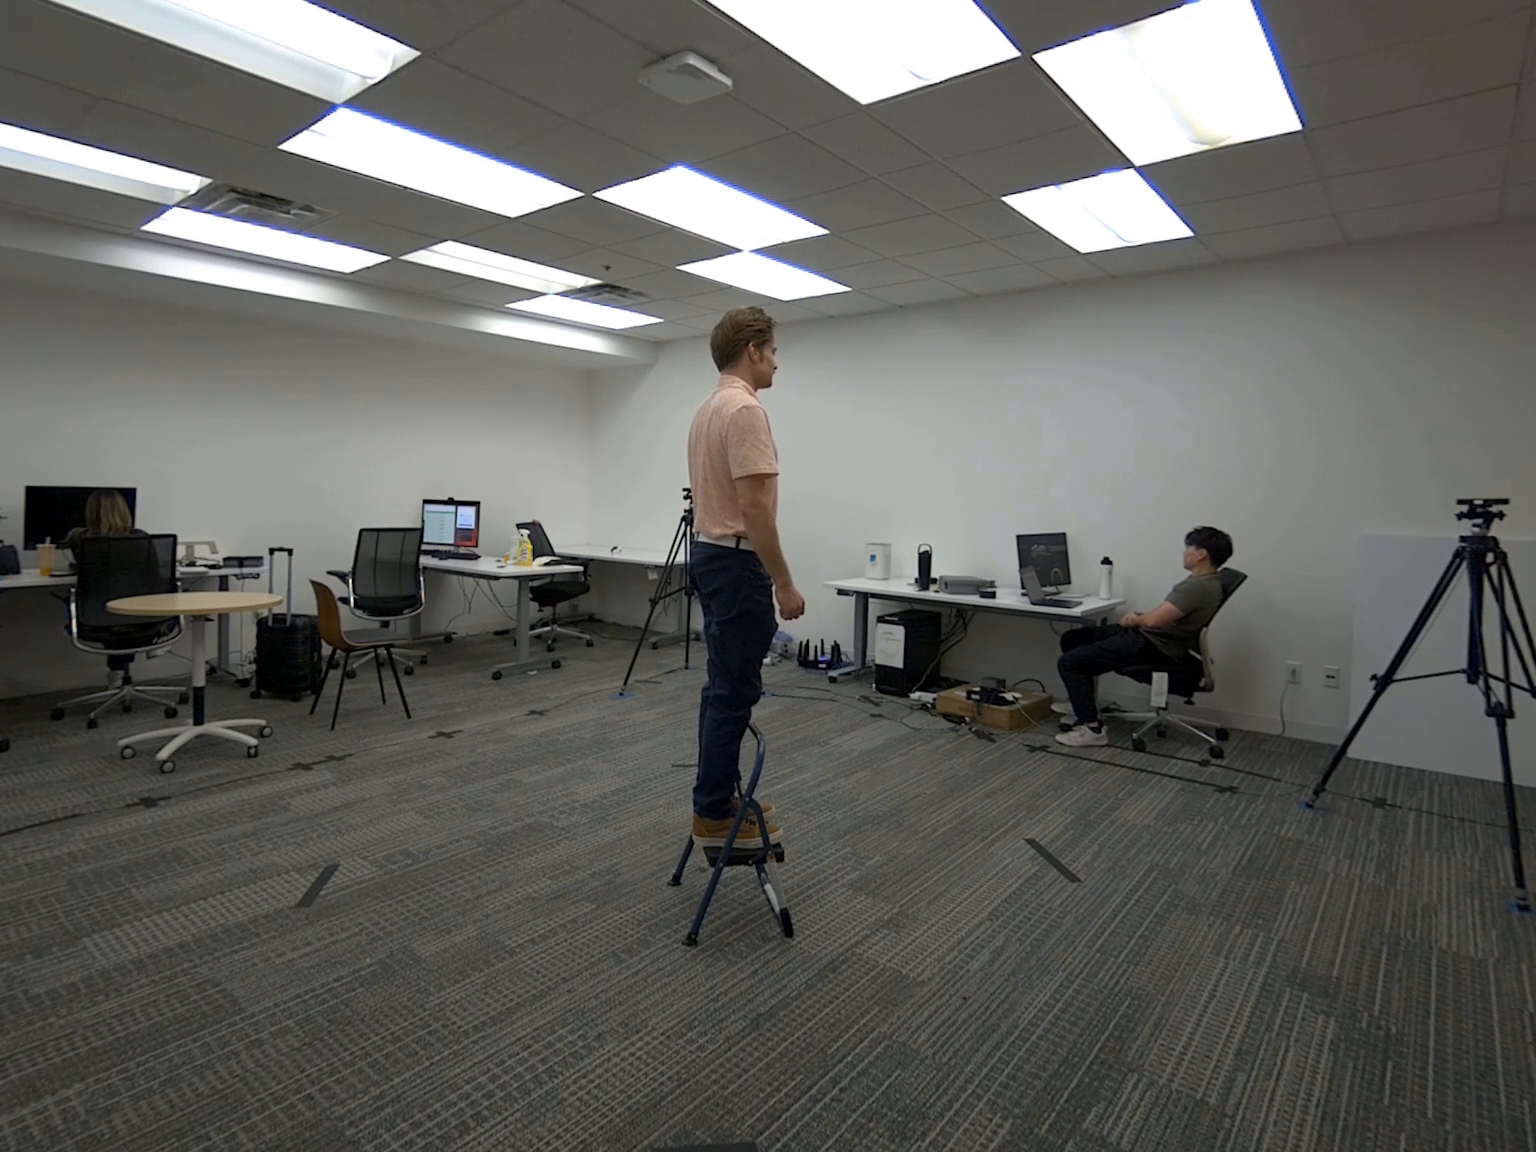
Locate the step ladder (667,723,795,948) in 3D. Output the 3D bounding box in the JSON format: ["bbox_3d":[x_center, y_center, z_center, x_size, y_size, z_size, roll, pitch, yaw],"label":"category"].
[{"bbox_3d":[-0.129,0.801,2.802,0.345,0.604,0.437,0,4,-13],"label":"step ladder"}]
